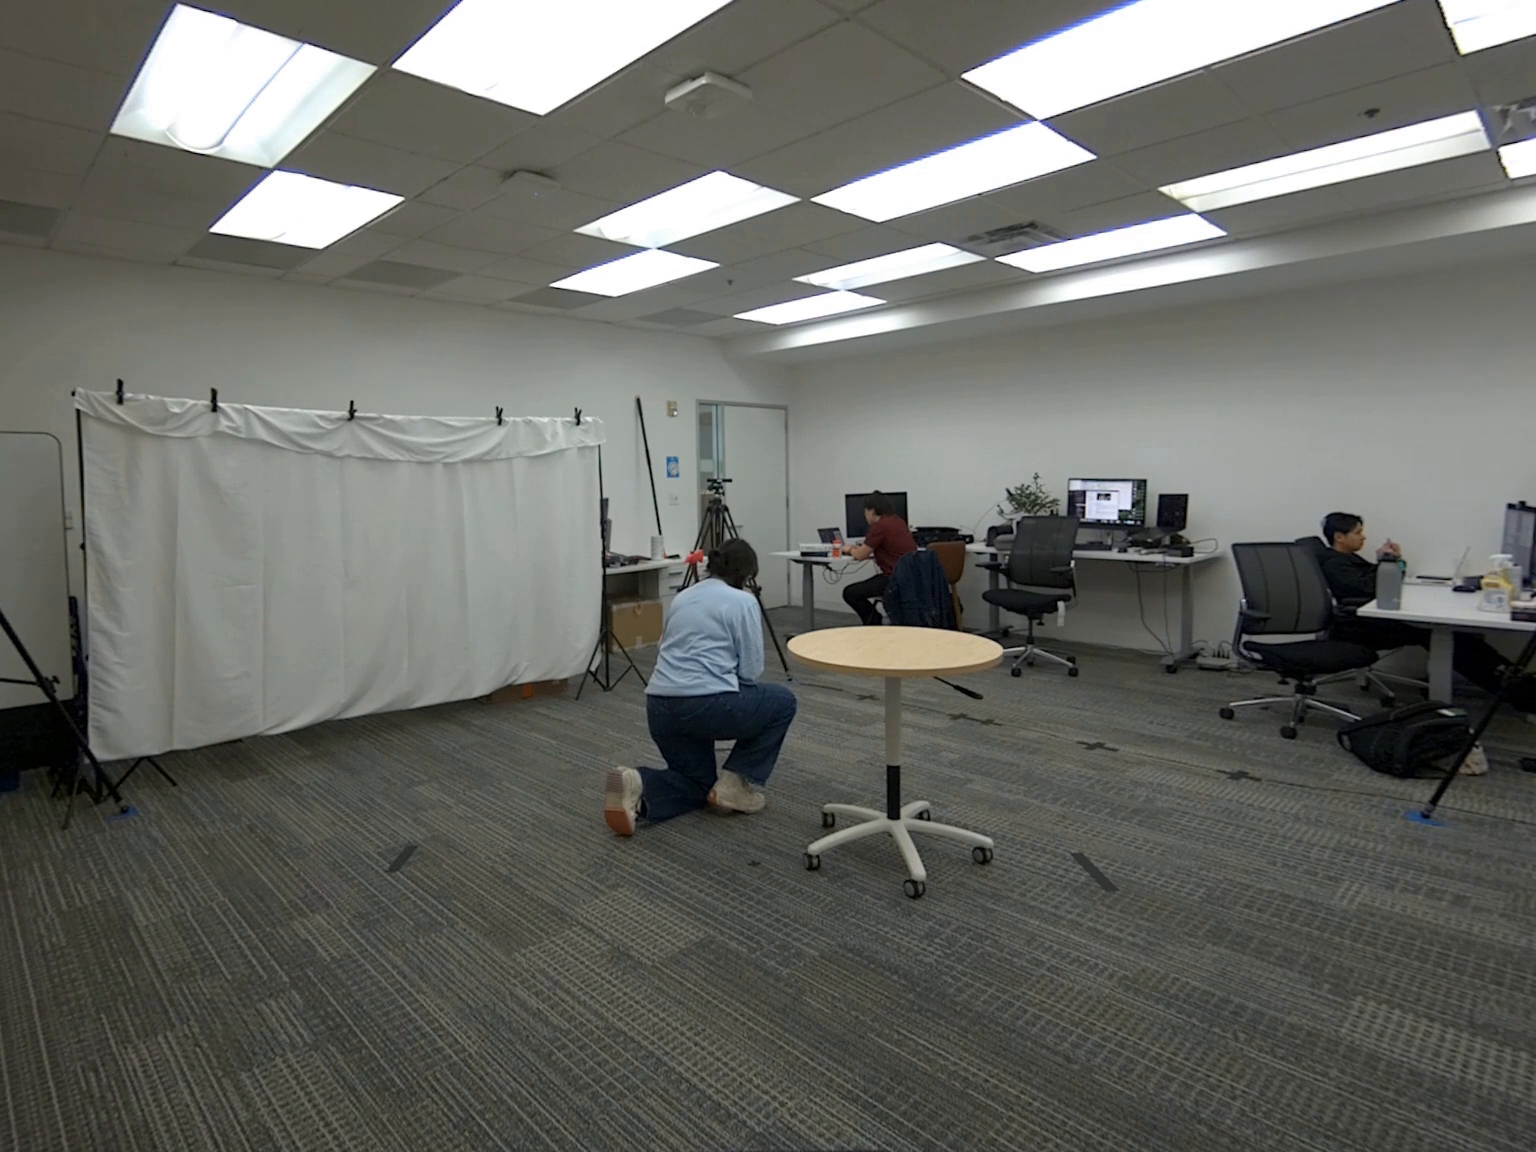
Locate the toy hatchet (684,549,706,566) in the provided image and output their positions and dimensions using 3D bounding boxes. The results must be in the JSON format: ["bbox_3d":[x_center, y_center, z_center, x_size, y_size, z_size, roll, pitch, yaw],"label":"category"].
[{"bbox_3d":[-0.292,-0.010,3.931,0.030,0.261,0.131,6,44,34],"label":"toy hatchet"}]
